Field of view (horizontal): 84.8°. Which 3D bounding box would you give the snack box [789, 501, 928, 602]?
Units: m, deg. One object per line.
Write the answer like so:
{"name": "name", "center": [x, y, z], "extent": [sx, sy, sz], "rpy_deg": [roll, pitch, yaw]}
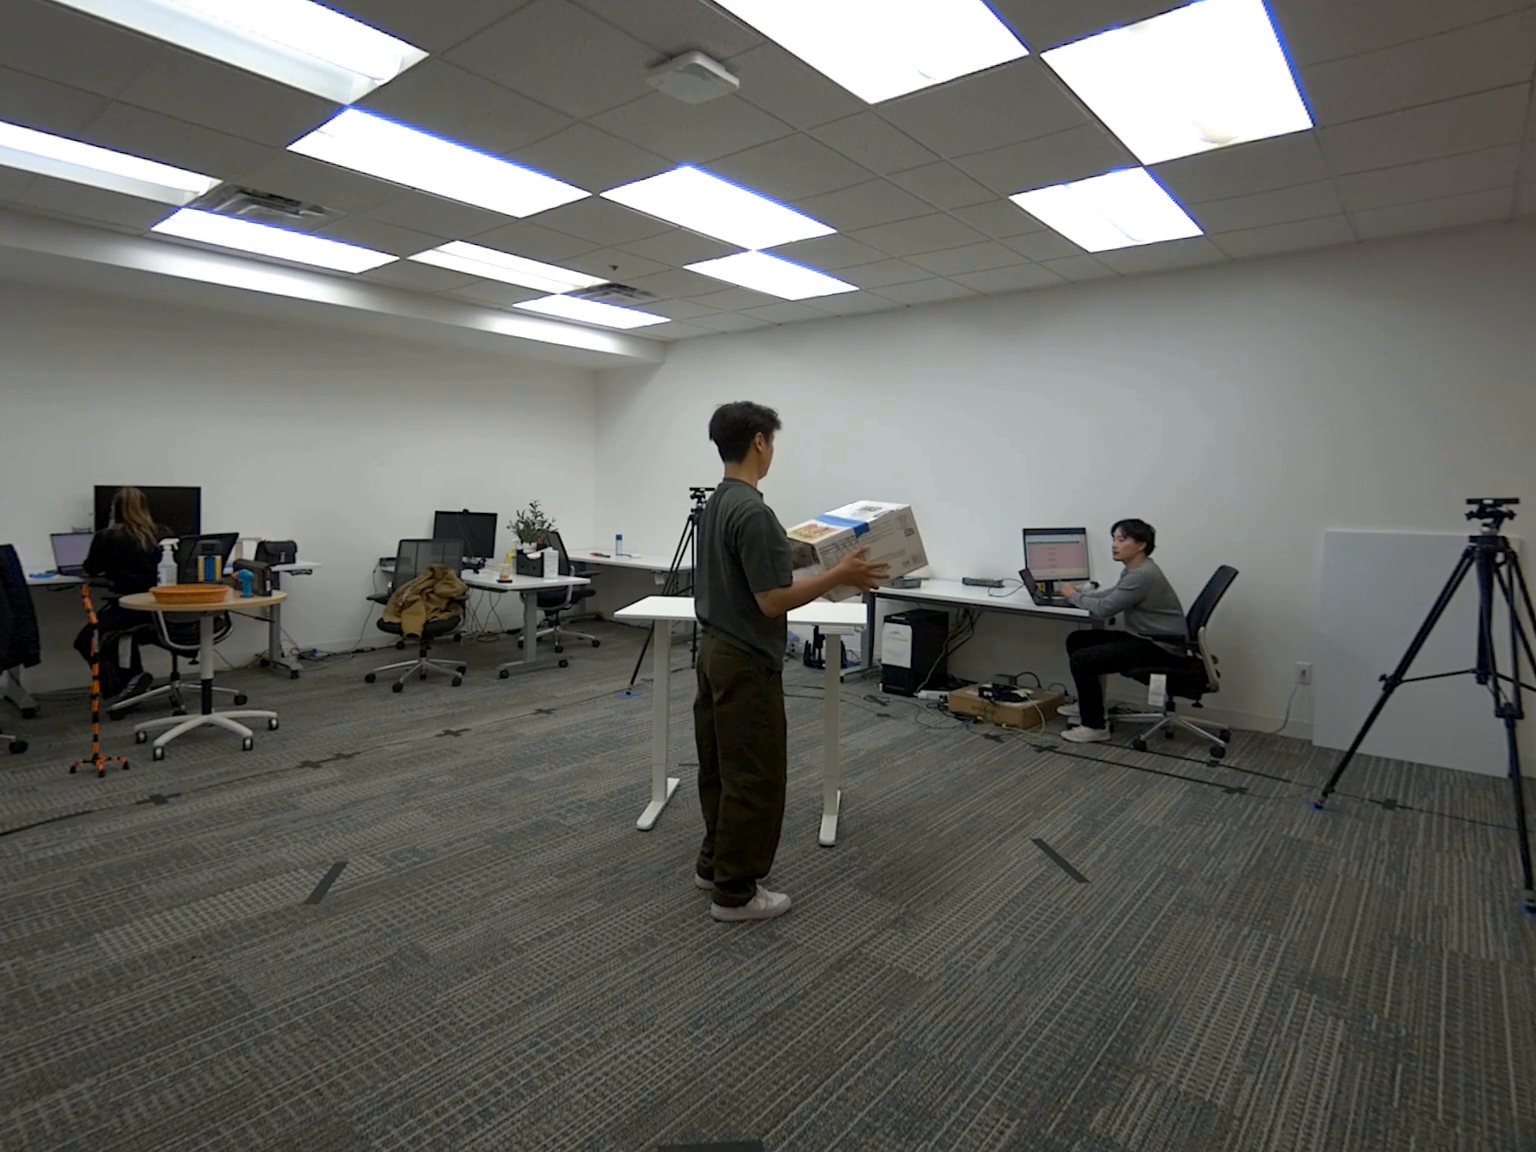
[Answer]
{"name": "snack box", "center": [0.259, -0.090, 2.845], "extent": [0.338, 0.203, 0.414], "rpy_deg": [-22, 13, -11]}
